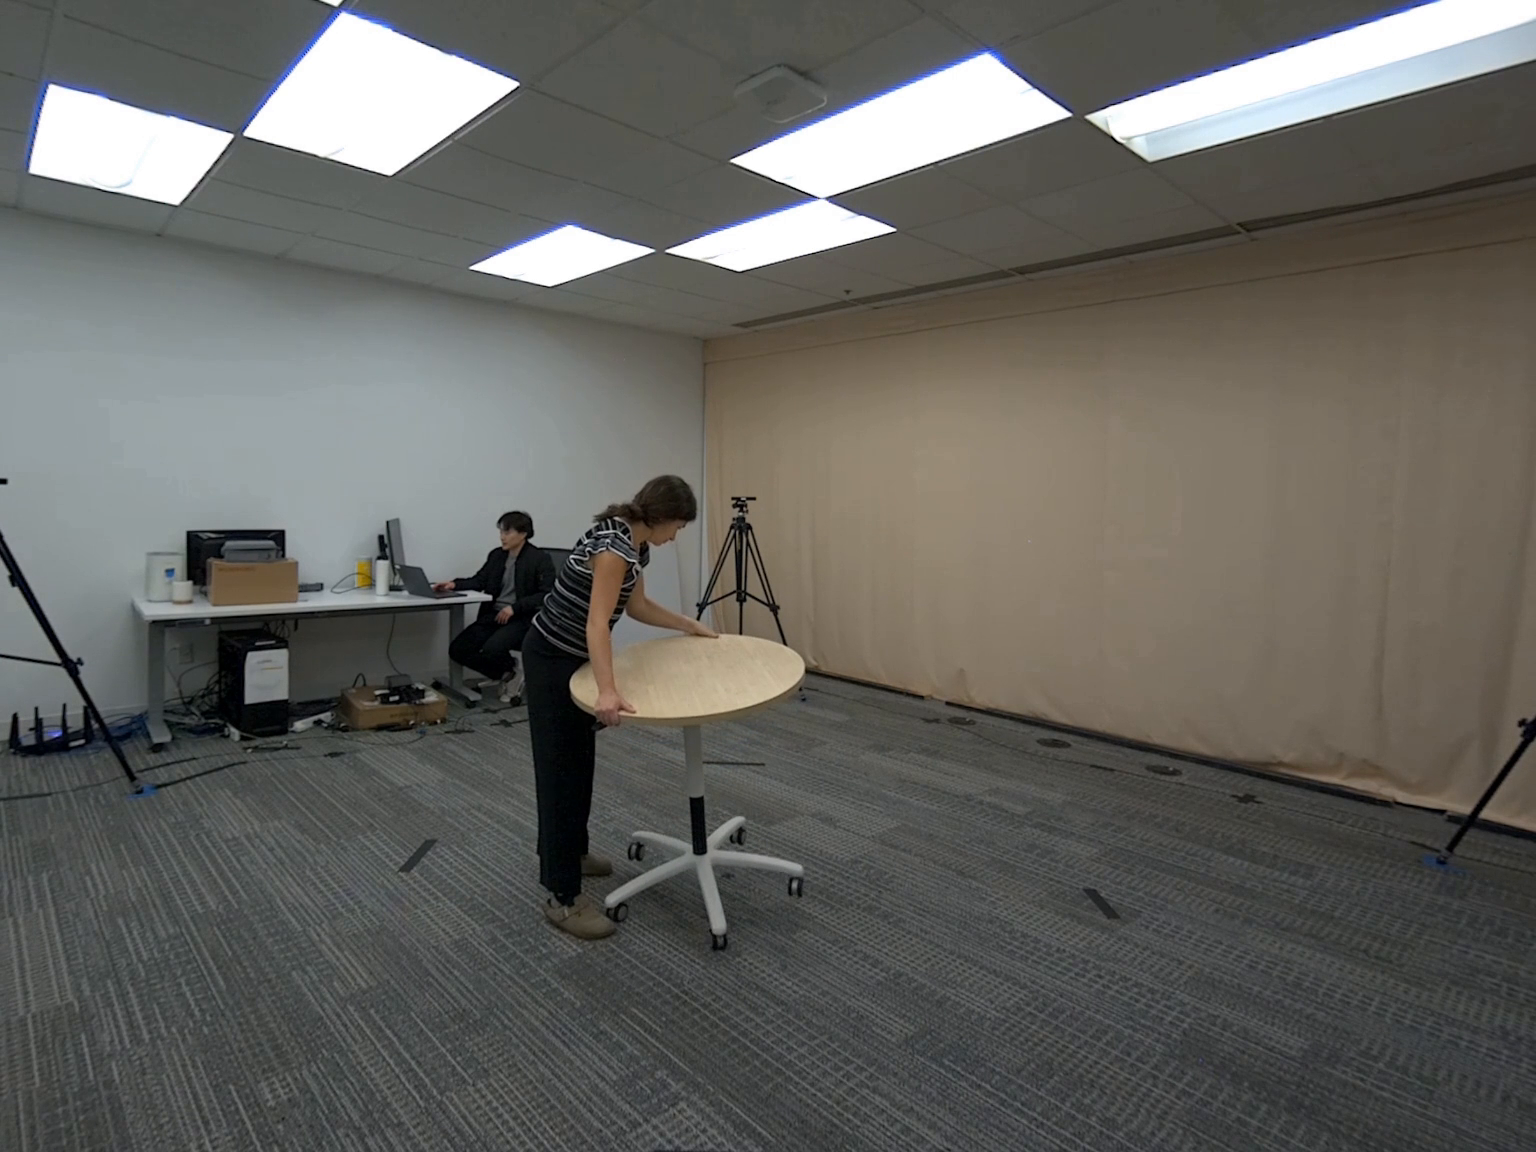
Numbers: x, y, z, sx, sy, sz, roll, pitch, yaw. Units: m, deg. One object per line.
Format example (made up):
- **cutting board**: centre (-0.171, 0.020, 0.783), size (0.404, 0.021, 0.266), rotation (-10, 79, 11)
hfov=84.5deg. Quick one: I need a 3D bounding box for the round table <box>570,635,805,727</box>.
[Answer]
- **round table**: centre (-0.249, 0.691, 2.843), size (0.785, 0.780, 0.792), rotation (-2, 12, -1)
